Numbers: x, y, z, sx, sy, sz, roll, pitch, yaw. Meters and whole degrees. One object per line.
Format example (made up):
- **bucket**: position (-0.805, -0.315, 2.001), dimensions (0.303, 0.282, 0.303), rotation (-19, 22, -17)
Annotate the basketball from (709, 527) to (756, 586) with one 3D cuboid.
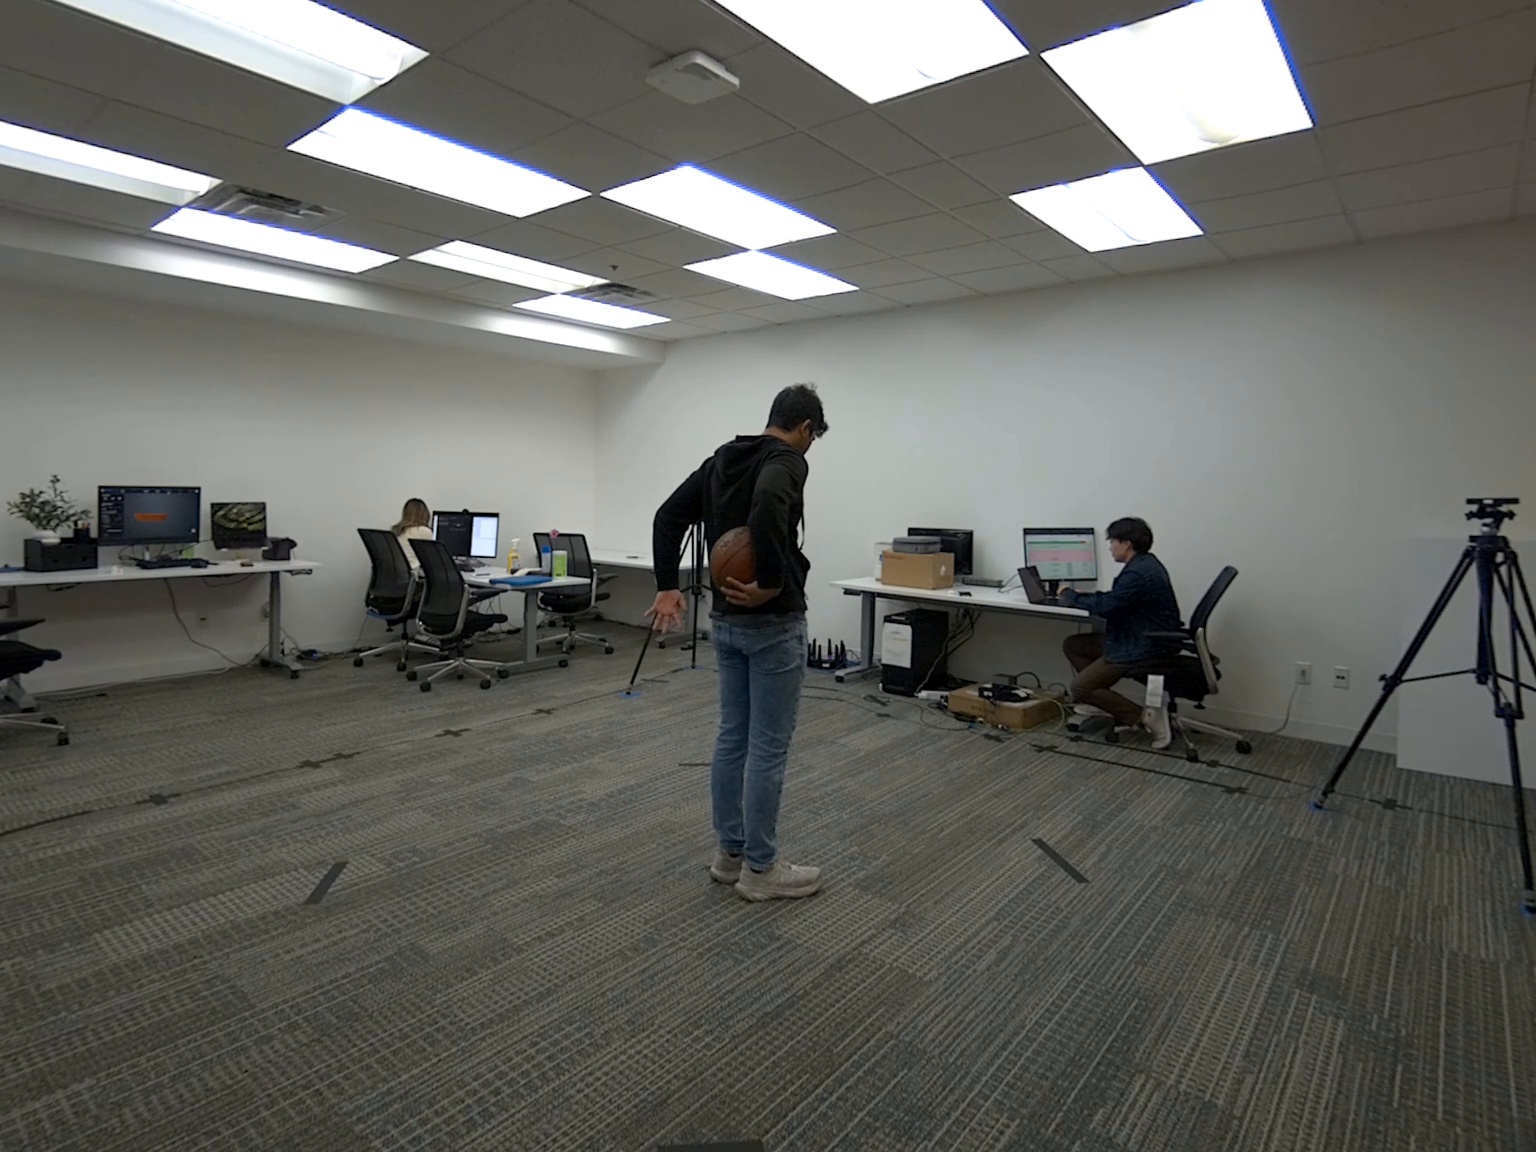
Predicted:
- **basketball**: position (-0.069, -0.046, 2.705), dimensions (0.235, 0.235, 0.237), rotation (1, 4, -2)
